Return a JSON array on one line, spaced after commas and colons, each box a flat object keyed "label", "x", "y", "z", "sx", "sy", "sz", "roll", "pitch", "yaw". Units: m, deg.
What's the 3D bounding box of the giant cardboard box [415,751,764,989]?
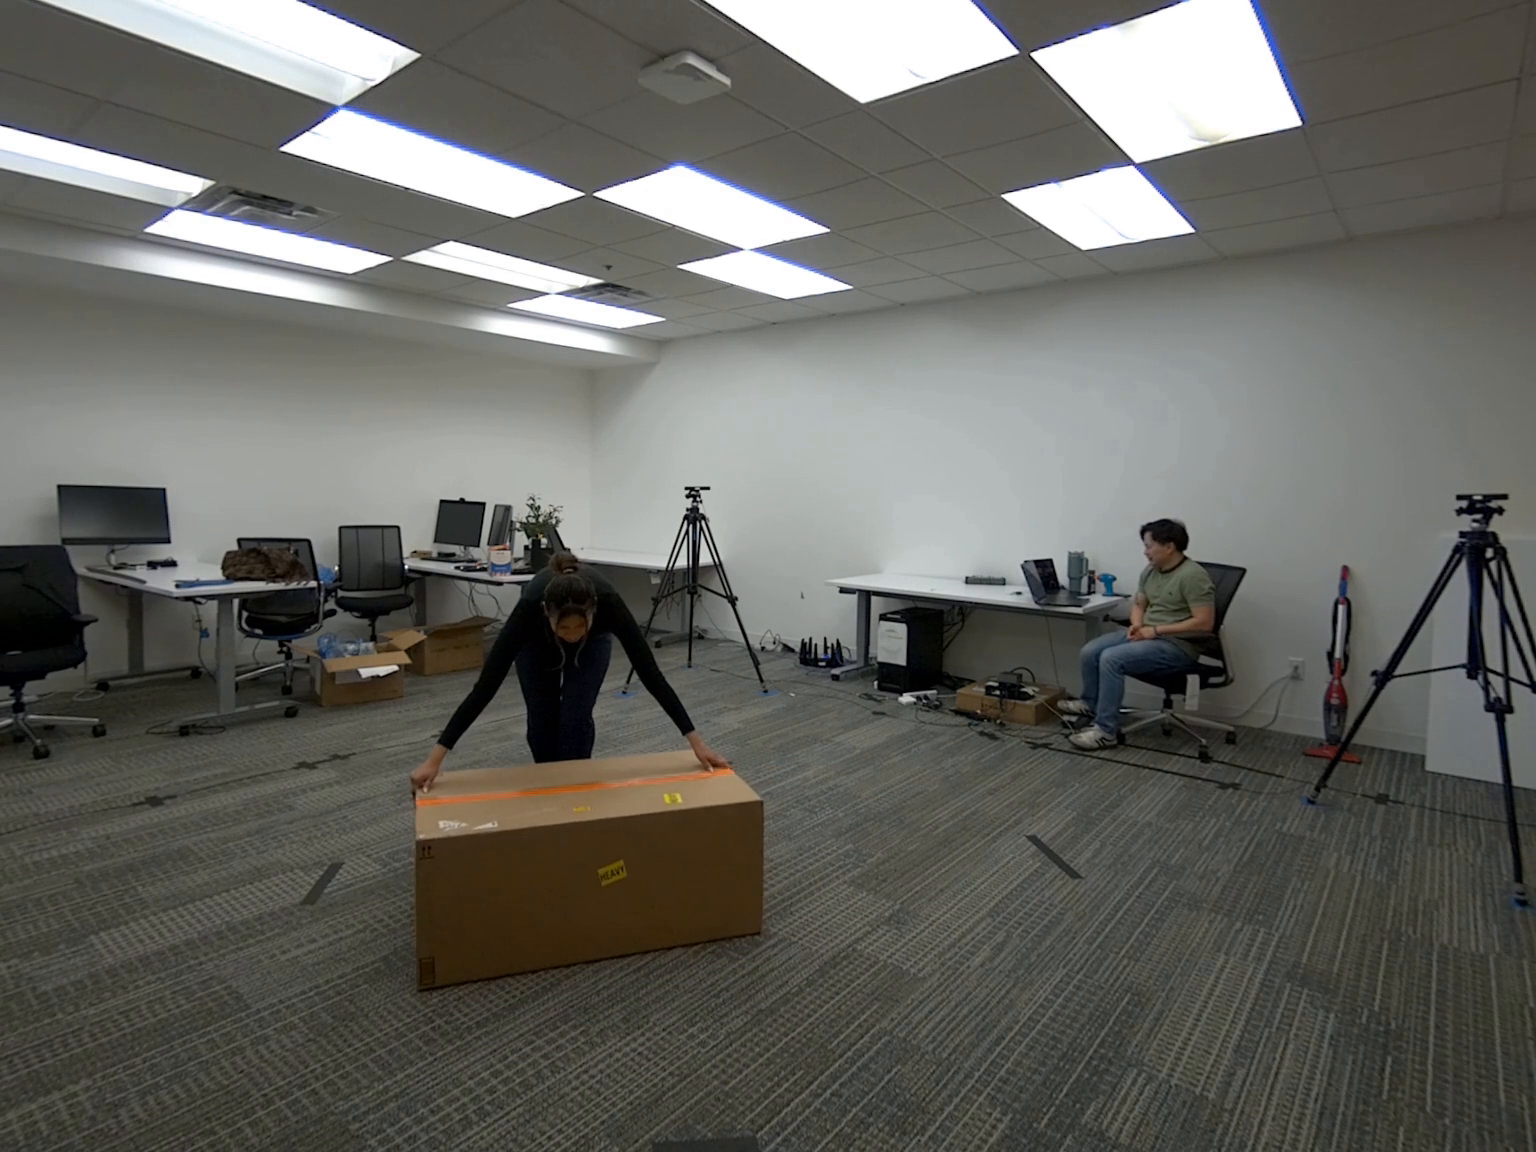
[{"label": "giant cardboard box", "x": -0.603, "y": 0.881, "z": 2.744, "sx": 1.006, "sy": 0.425, "sz": 0.591, "roll": -1, "pitch": 5, "yaw": -20}]
